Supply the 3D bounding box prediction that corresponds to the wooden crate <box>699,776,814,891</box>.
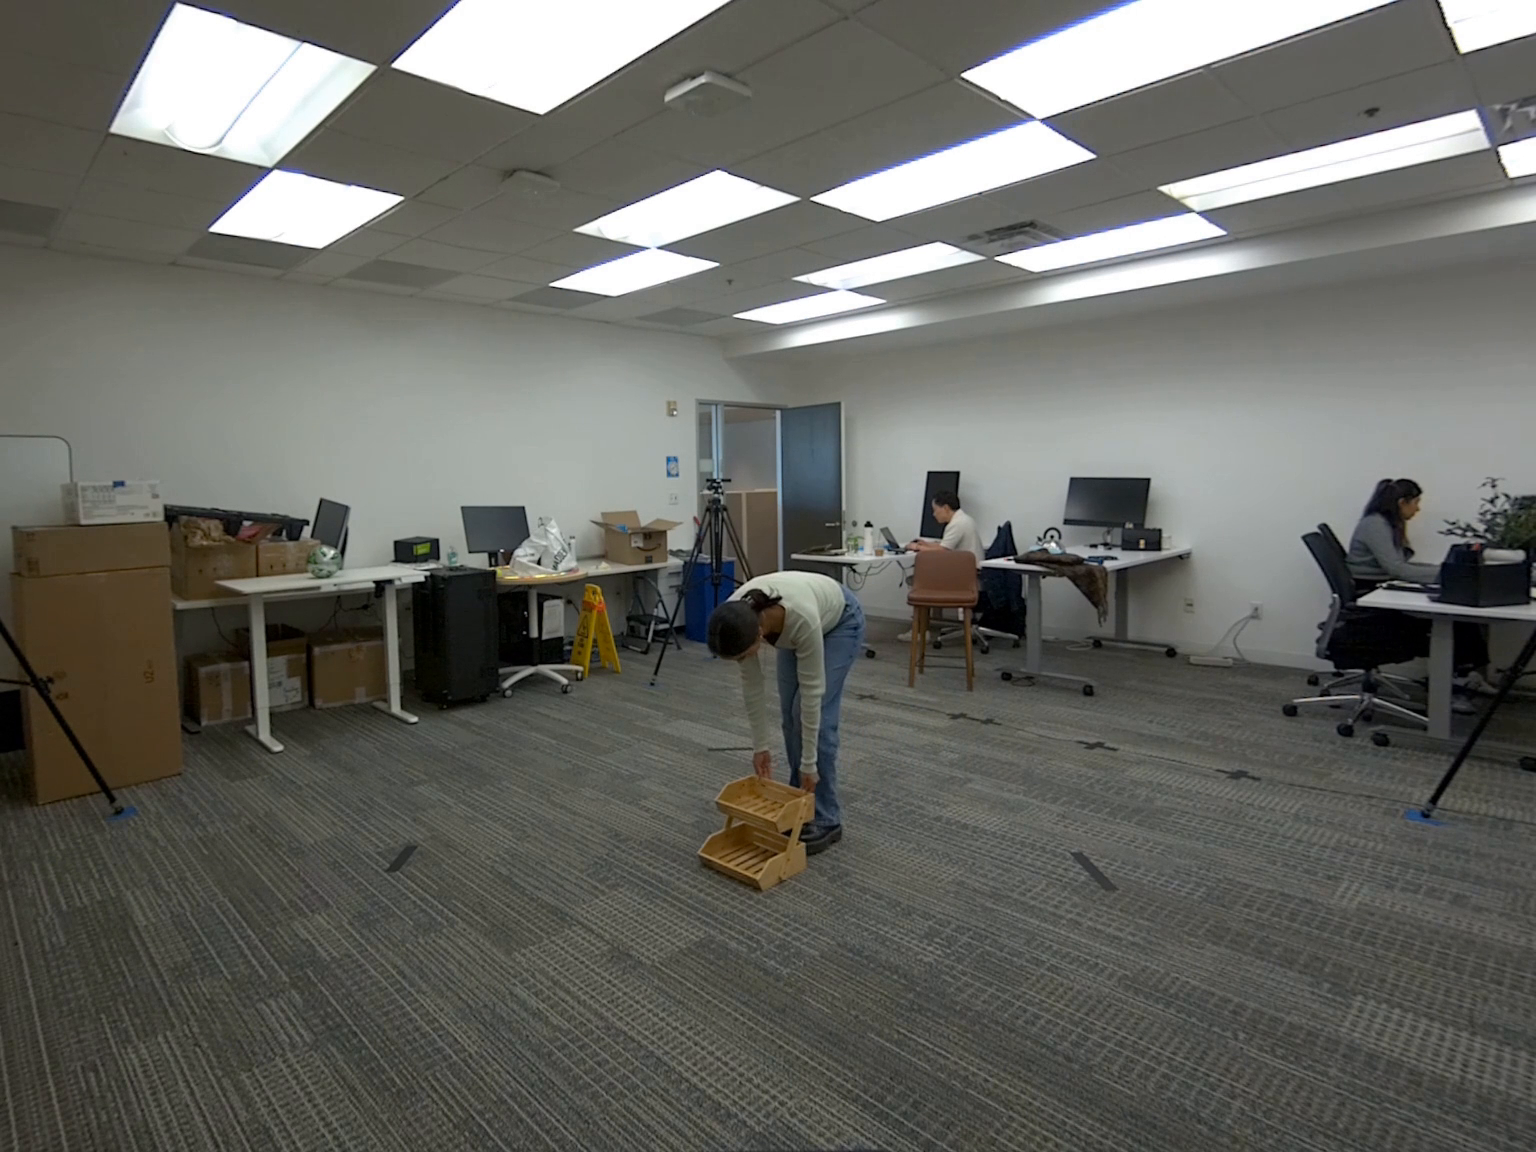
[{"bbox_3d":[-0.044,0.911,3.081,0.334,0.272,0.294,4,6,44],"label":"wooden crate"}]
